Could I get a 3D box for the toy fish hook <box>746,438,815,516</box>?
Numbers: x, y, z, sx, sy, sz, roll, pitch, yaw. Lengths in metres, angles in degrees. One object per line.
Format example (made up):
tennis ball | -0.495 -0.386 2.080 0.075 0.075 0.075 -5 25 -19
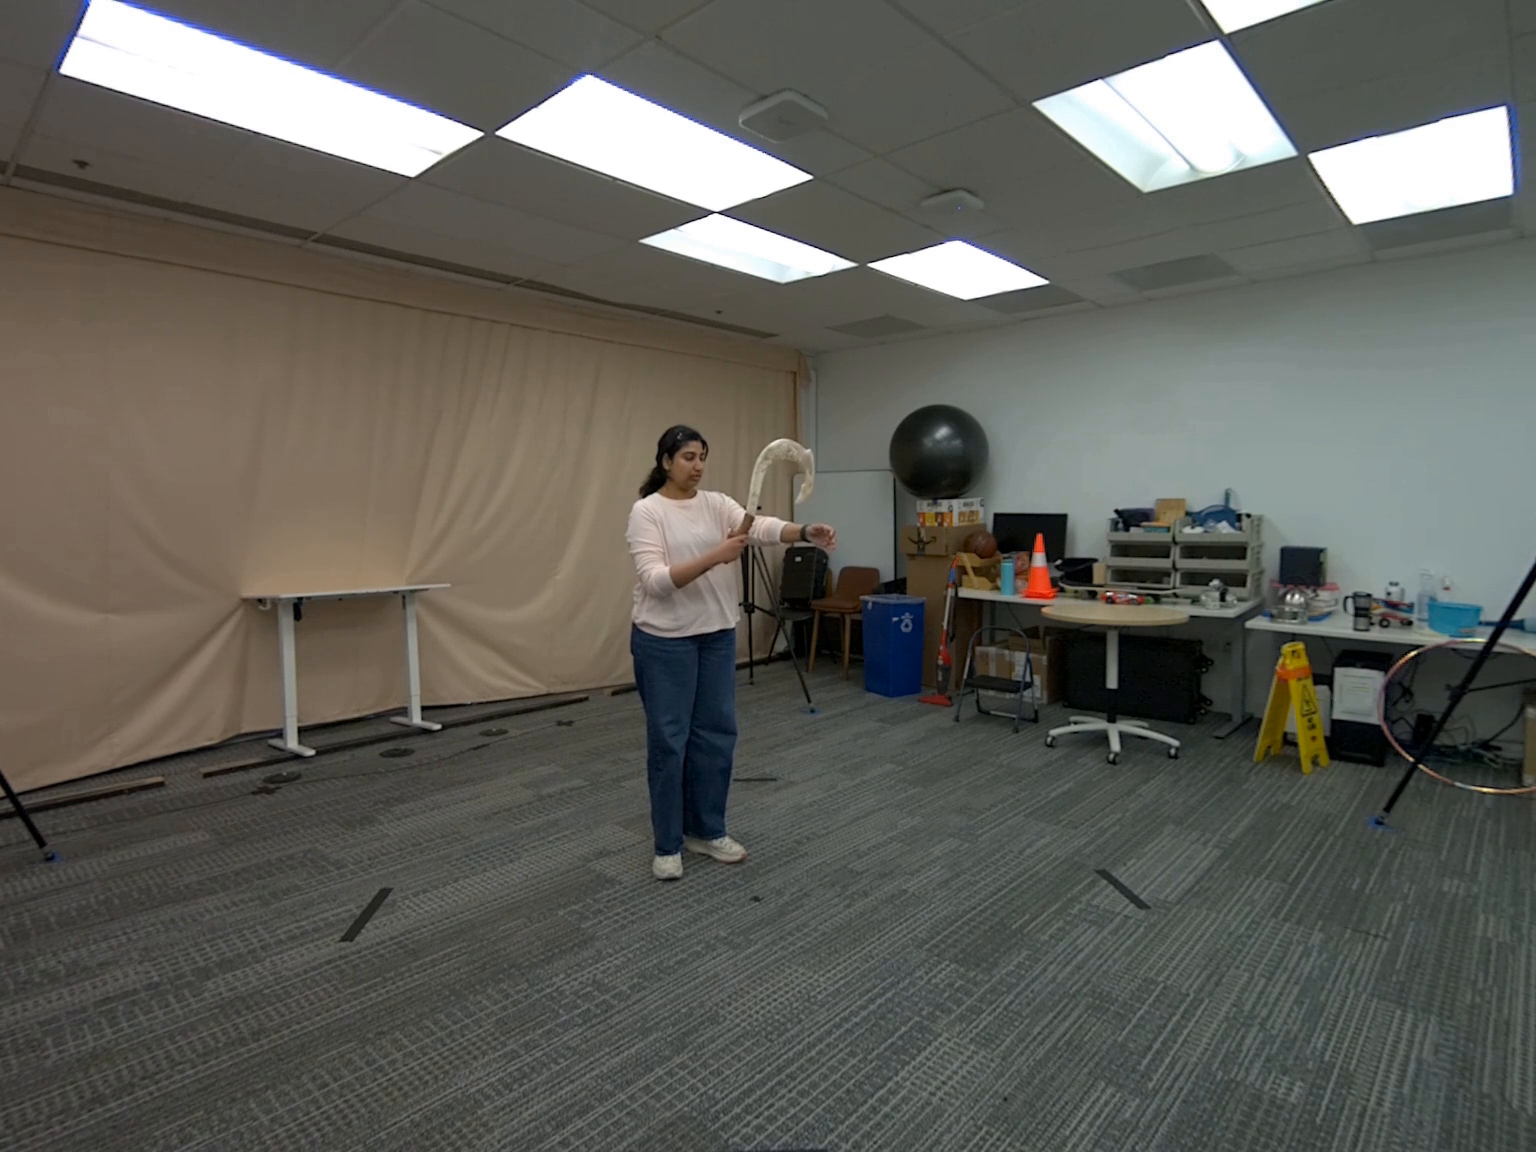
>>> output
toy fish hook | 0.002 -0.244 3.030 0.225 0.506 0.048 26 1 3
